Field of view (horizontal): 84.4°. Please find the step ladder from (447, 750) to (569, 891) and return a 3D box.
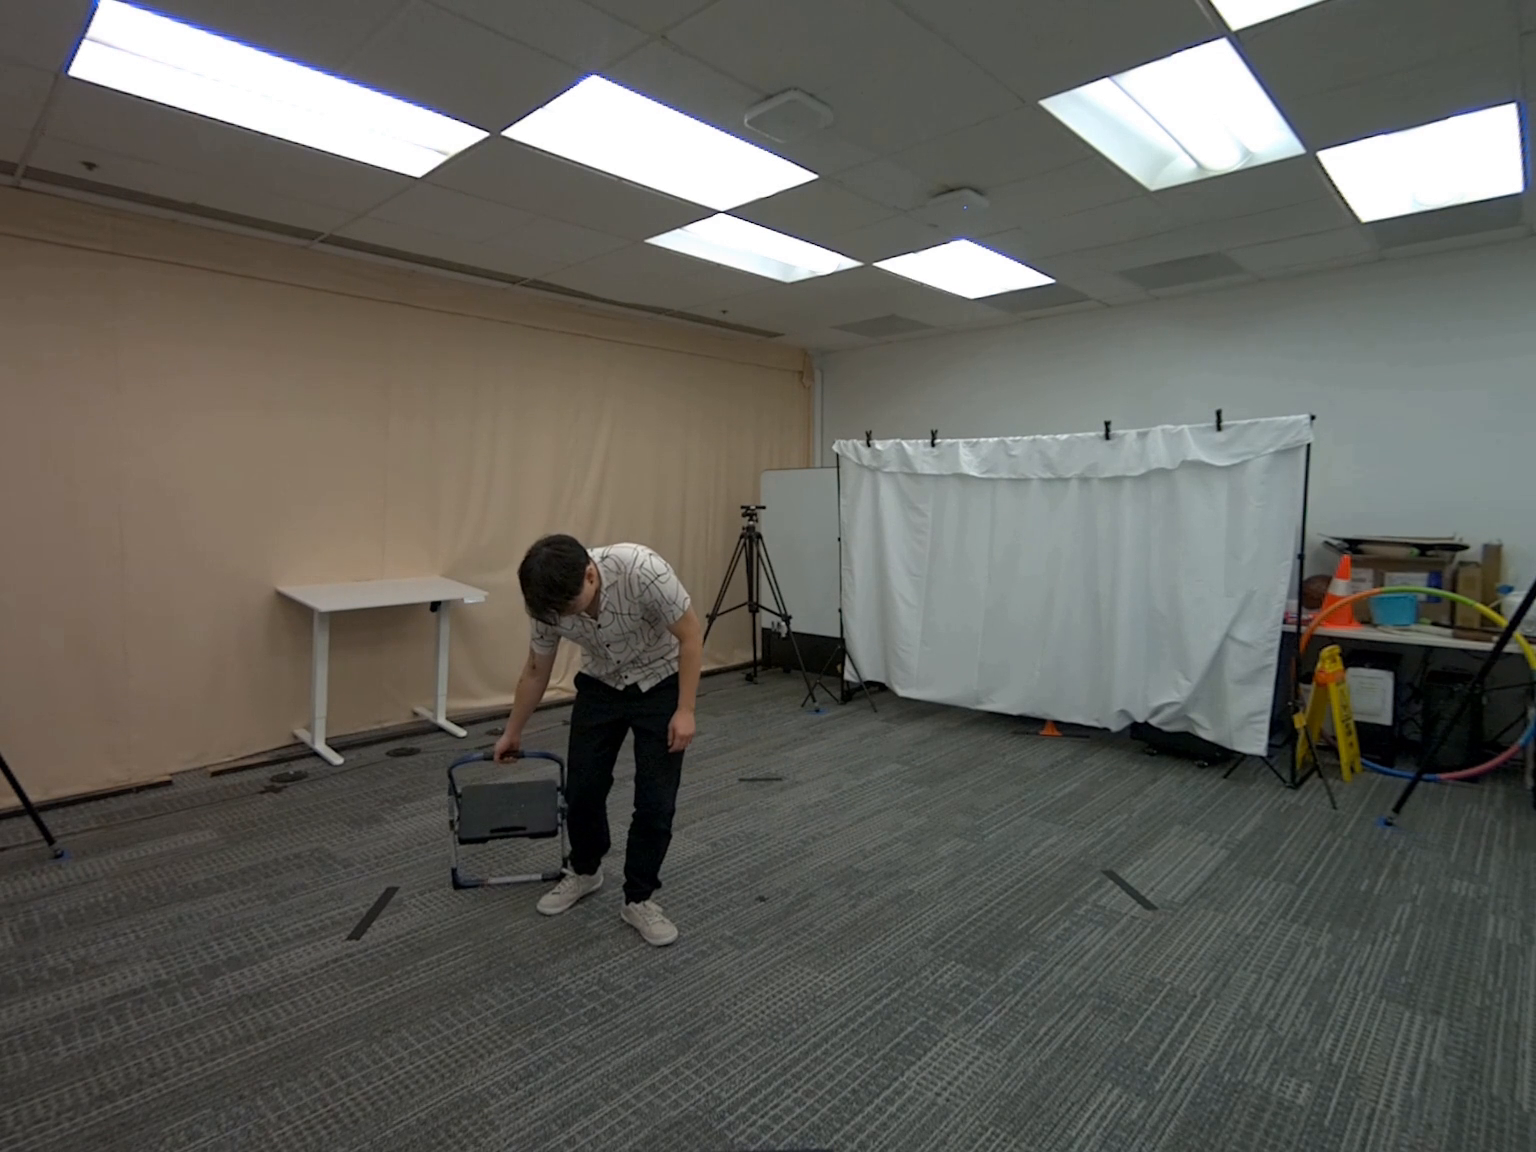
[{"bbox_3d":[-0.955,0.804,3.086,0.425,0.598,0.359,-1,36,-13],"label":"step ladder"}]
